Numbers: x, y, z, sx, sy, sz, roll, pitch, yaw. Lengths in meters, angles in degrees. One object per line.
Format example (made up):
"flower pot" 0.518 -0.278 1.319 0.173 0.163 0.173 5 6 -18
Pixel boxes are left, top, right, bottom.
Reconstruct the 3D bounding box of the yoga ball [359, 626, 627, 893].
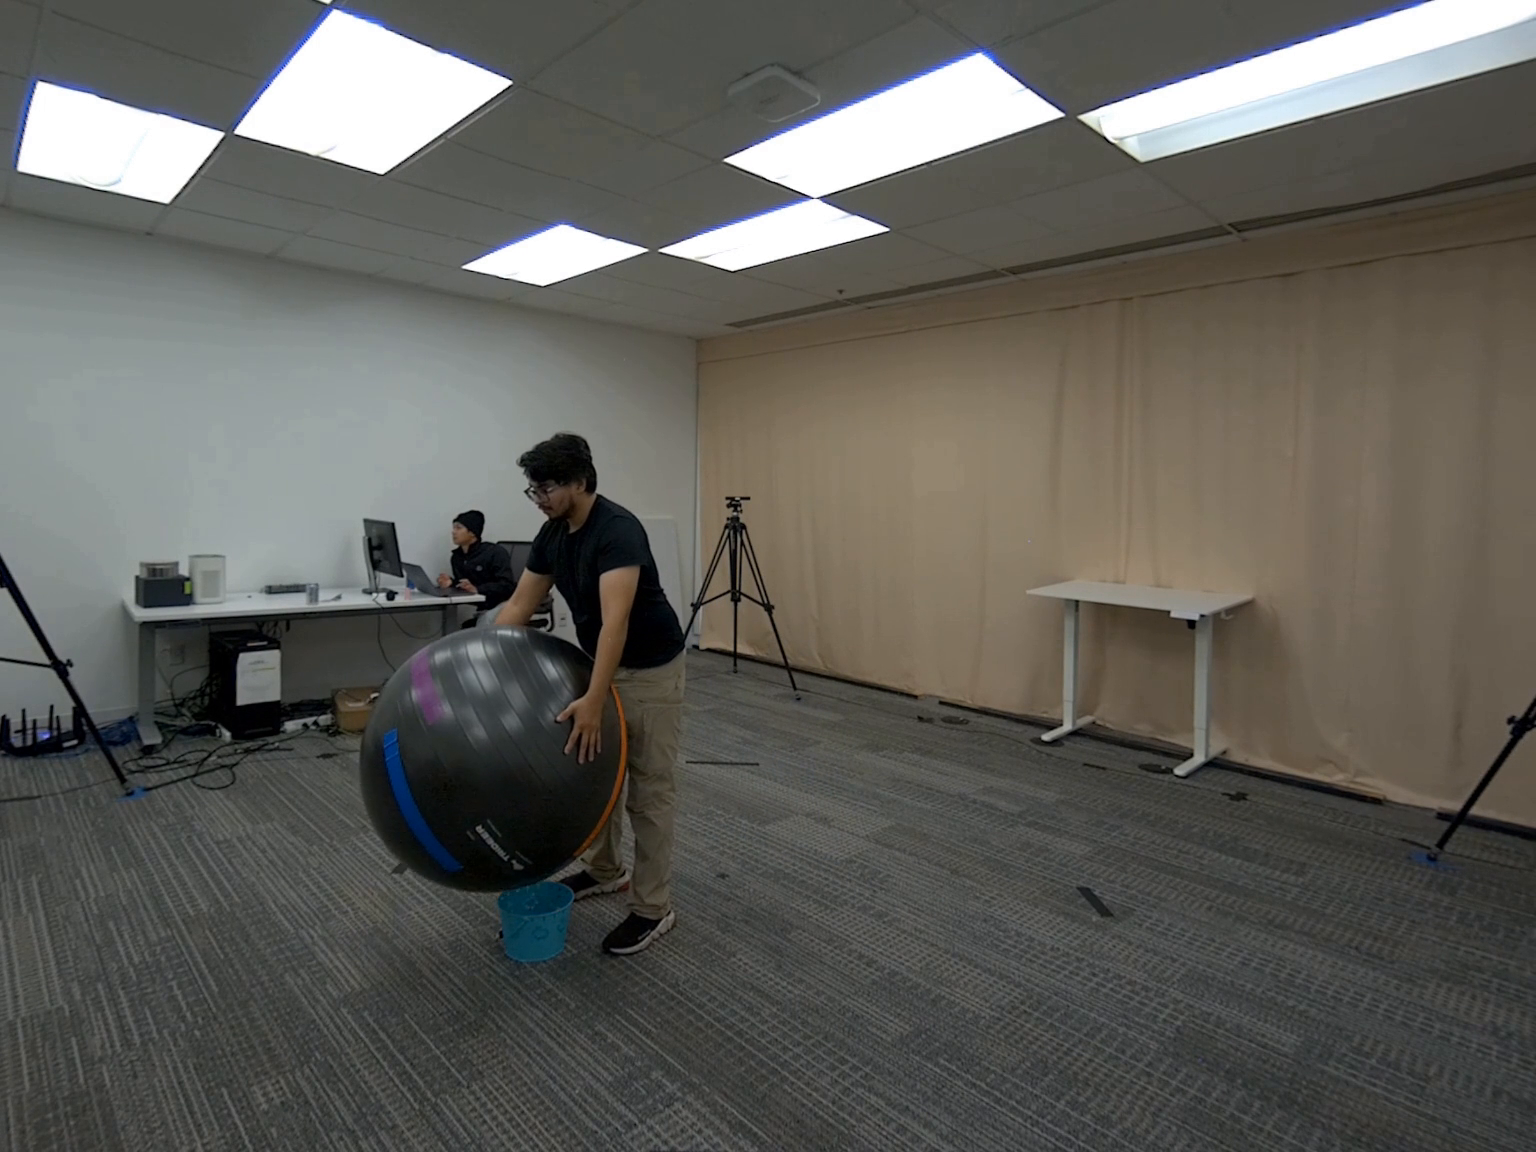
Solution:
"yoga ball" -0.802 0.527 2.470 0.757 0.756 0.761 1 4 -1
